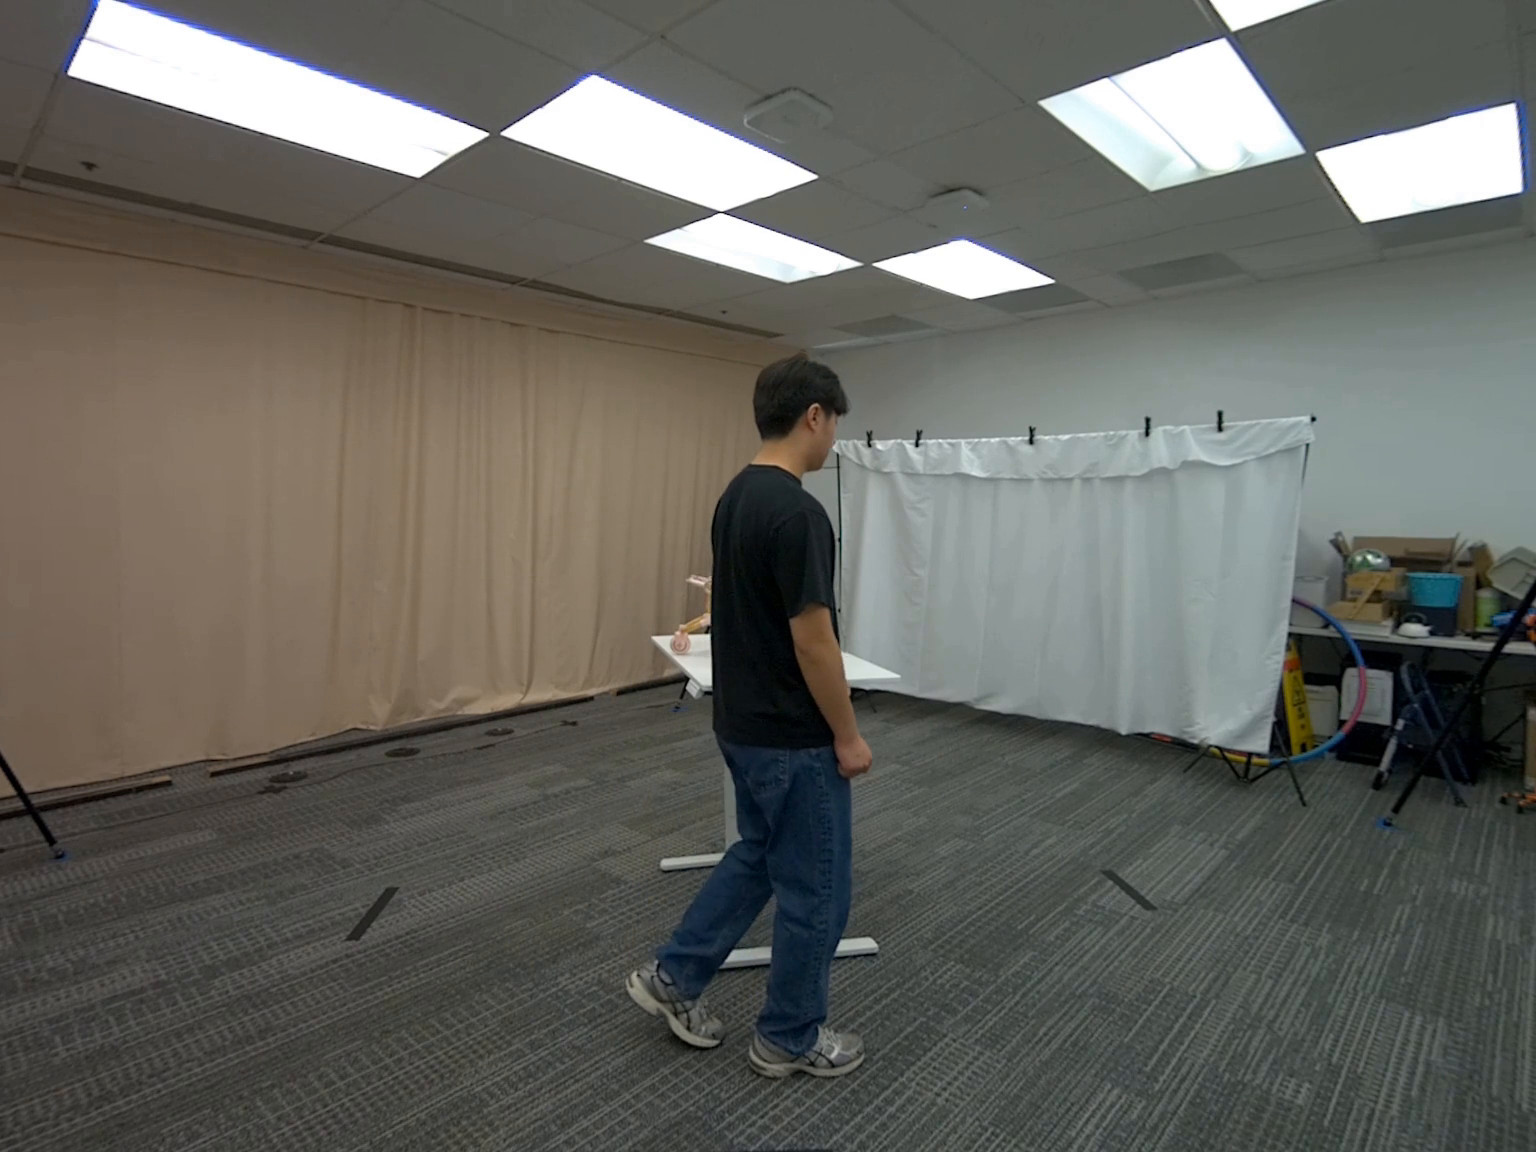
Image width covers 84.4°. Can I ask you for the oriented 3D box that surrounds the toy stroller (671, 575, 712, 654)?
[{"bbox_3d":[-0.113,0.044,2.868,0.344,0.534,0.279,16,4,6],"label":"toy stroller"}]
